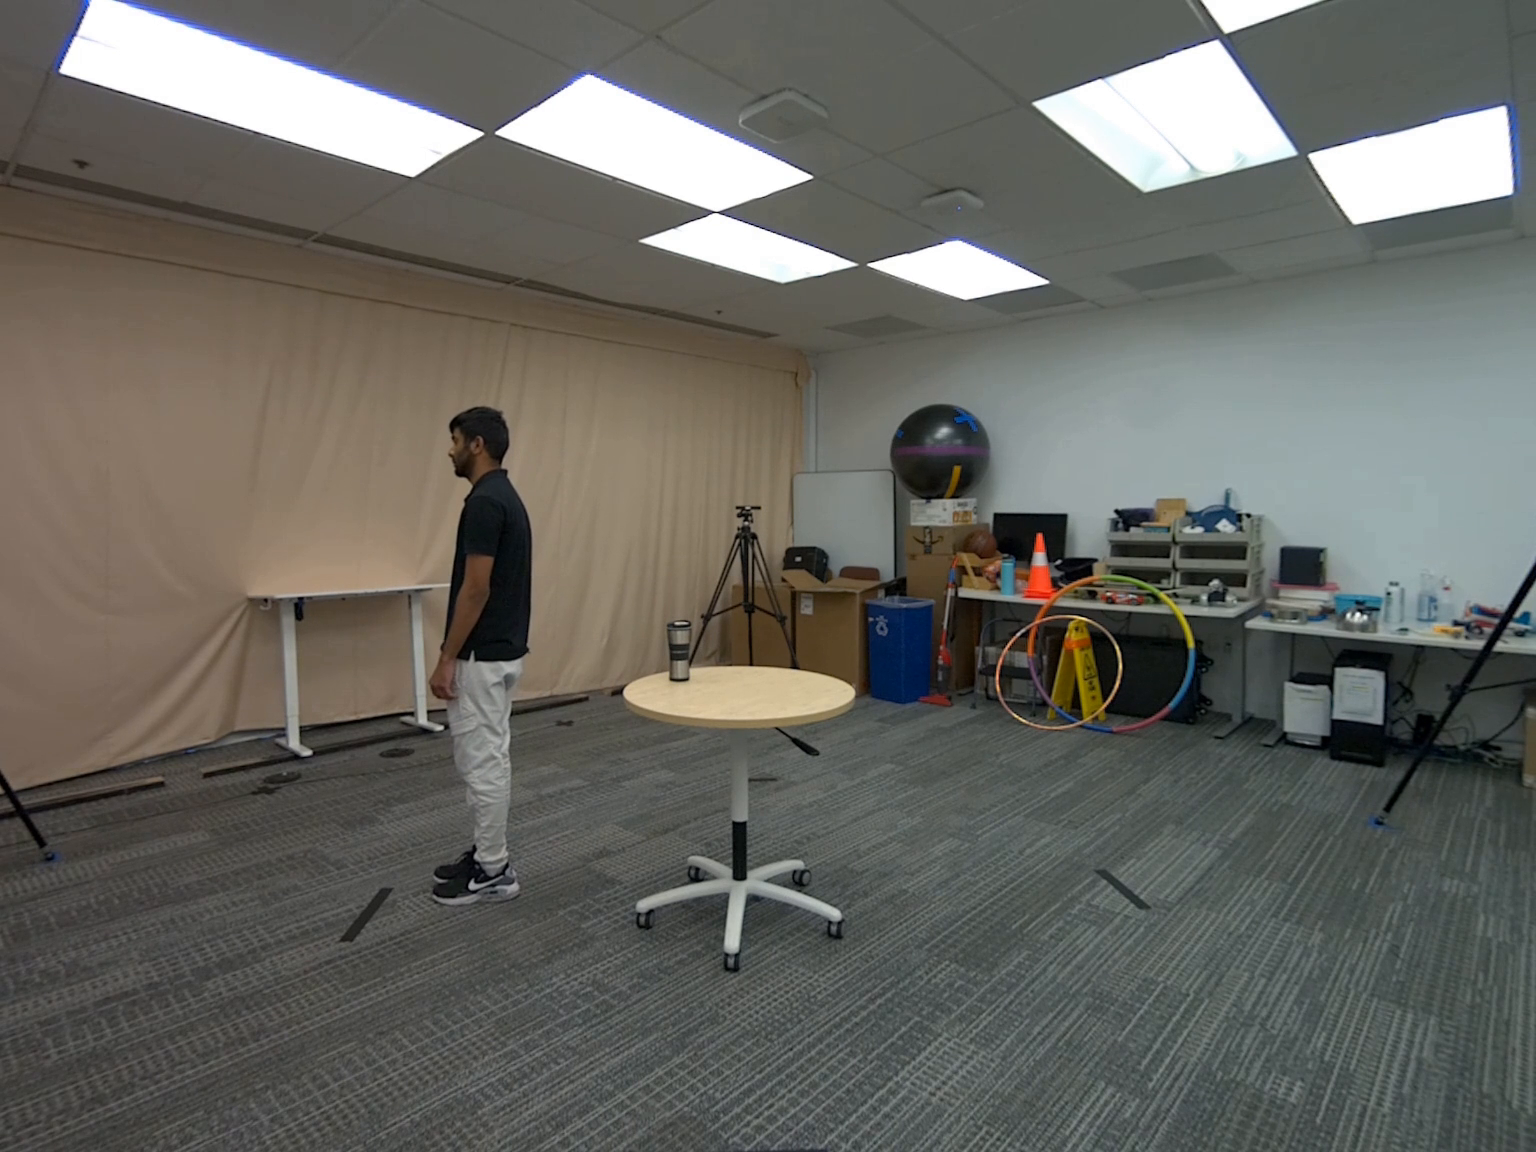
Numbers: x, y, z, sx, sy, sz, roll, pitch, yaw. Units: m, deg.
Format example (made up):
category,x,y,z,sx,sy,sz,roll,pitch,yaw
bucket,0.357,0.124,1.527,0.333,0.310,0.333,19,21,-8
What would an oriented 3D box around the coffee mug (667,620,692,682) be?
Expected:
category,x,y,z,sx,sy,sz,roll,pitch,yaw
coffee mug,-0.297,0.263,2.954,0.090,0.202,0.119,-2,6,26
